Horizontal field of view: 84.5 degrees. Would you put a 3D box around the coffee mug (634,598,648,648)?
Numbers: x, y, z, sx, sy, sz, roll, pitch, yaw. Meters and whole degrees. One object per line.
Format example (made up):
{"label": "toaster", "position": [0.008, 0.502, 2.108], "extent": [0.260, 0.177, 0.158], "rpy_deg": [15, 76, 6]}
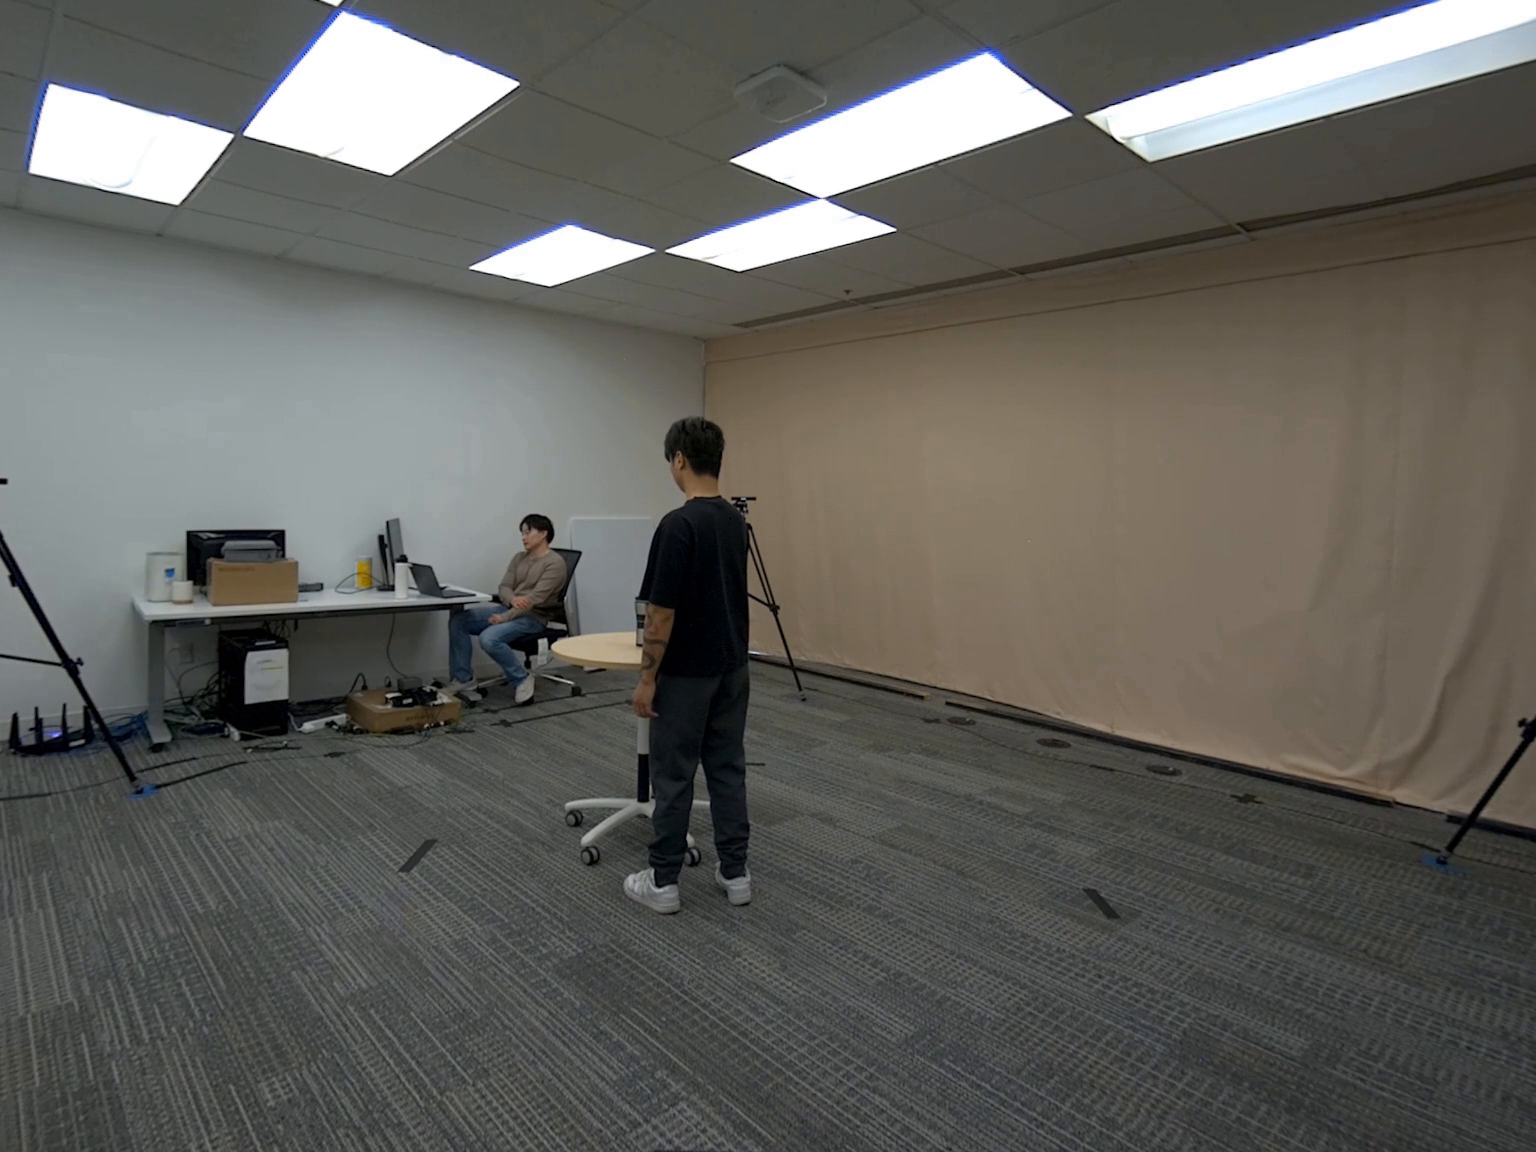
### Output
{"label": "coffee mug", "position": [-0.501, 0.188, 3.416], "extent": [0.086, 0.203, 0.124], "rpy_deg": [5, -1, -29]}
